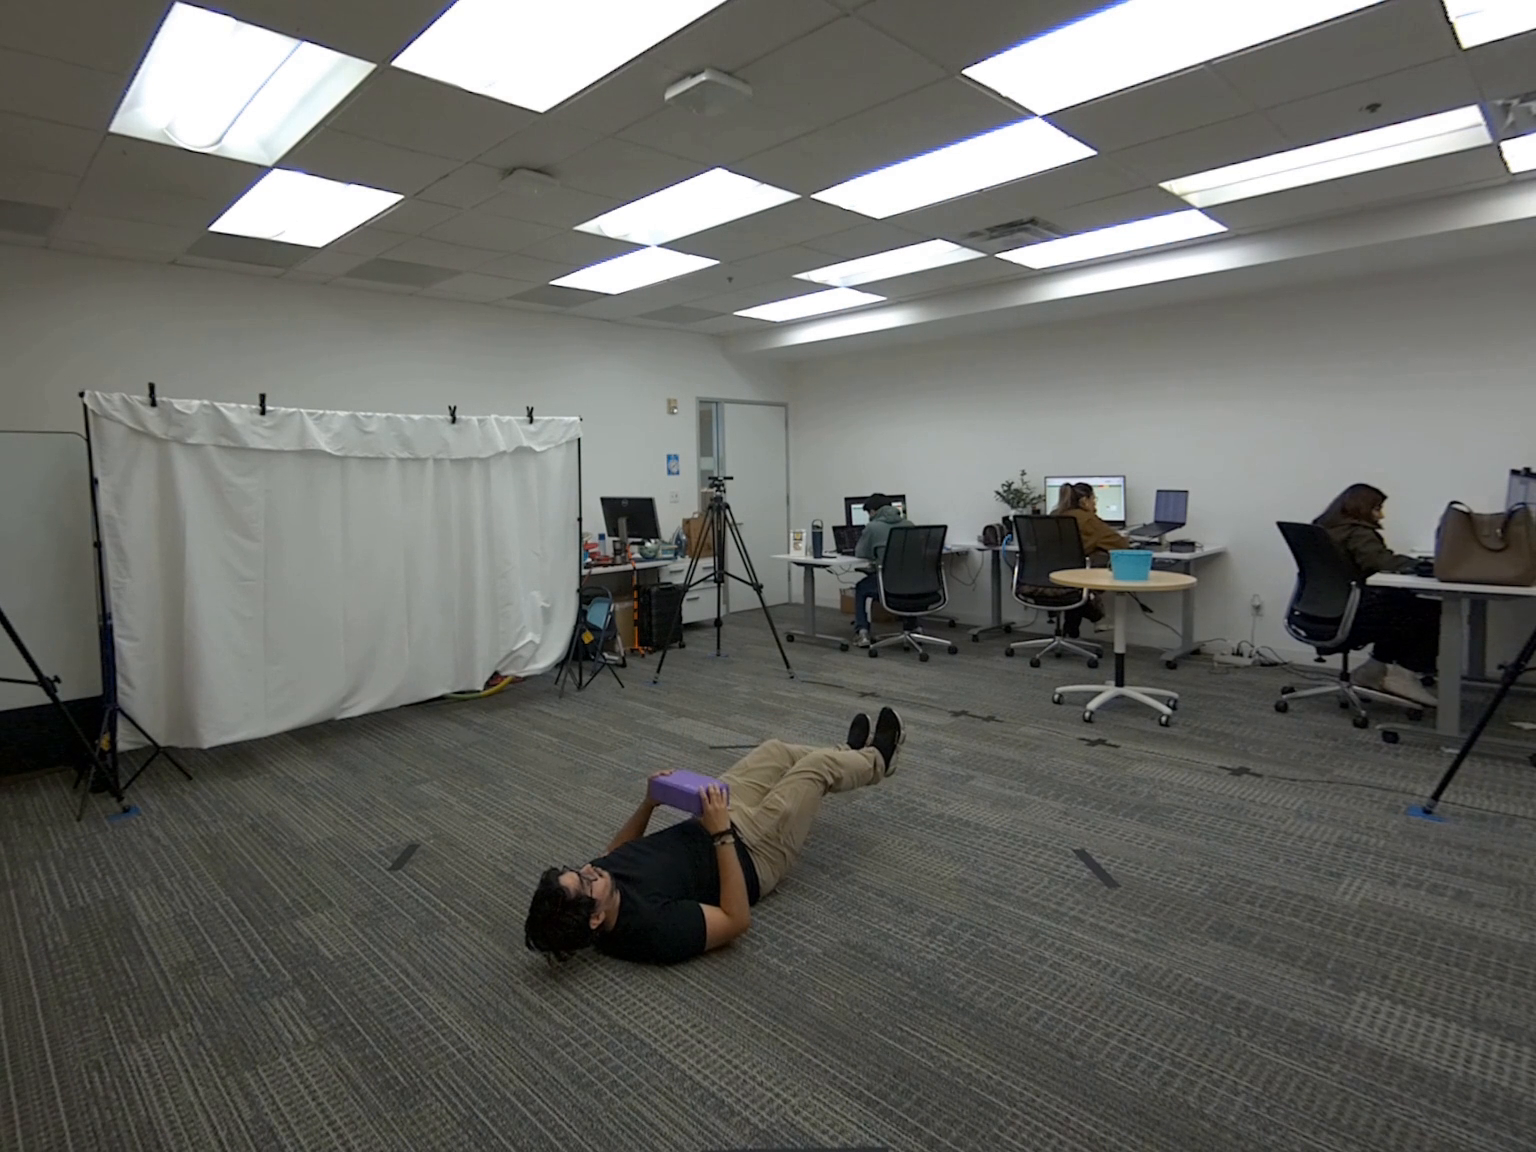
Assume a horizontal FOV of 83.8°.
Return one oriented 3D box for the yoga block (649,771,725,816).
[{"bbox_3d":[-0.249,0.705,2.781,0.236,0.076,0.145,2,4,42],"label":"yoga block"}]
